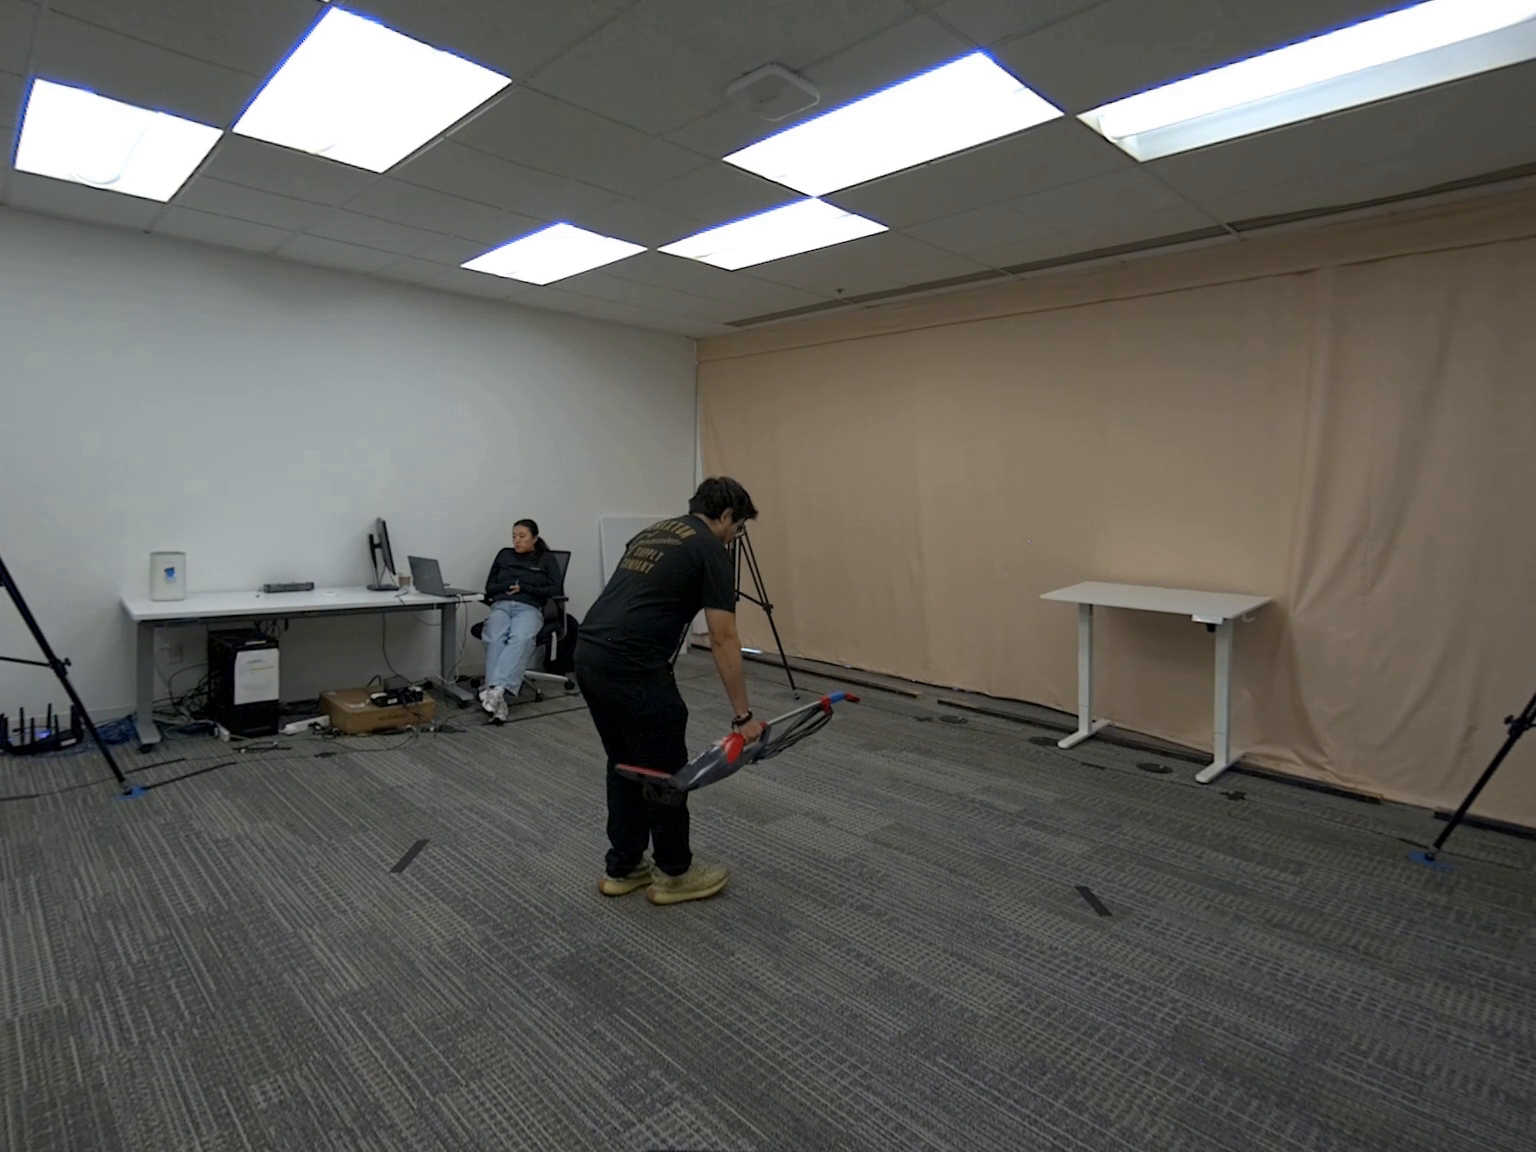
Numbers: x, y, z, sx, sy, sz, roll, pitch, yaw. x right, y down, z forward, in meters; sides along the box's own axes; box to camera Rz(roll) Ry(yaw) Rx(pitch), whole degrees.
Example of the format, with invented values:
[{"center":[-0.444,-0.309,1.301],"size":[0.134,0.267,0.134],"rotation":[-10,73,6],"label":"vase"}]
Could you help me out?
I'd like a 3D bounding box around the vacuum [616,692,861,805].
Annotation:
[{"center":[-0.003,0.568,2.894],"size":[0.258,0.143,1.029],"rotation":[-2,7,45],"label":"vacuum"}]
